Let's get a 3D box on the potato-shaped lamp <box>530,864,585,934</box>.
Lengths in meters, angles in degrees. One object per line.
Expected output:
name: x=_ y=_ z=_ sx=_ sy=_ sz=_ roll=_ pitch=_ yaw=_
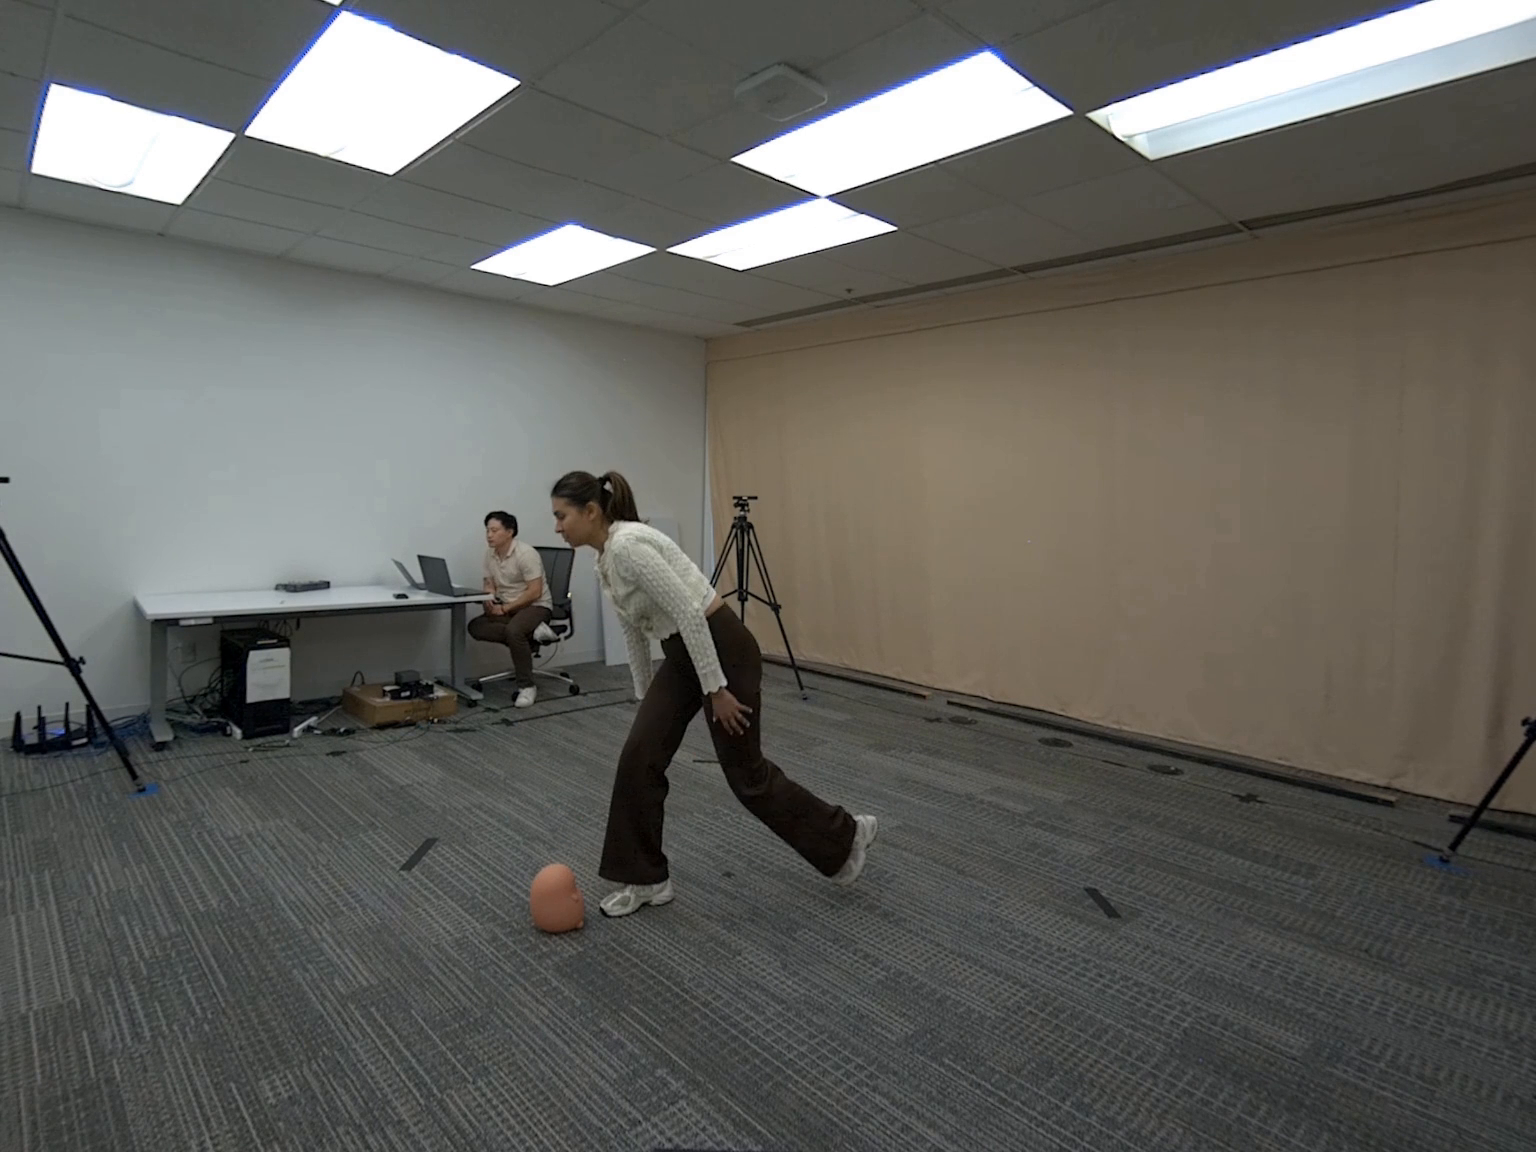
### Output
potato-shaped lamp: x=-0.681 y=1.026 z=2.705 sx=0.169 sy=0.197 sz=0.168 roll=-2 pitch=6 yaw=-22
